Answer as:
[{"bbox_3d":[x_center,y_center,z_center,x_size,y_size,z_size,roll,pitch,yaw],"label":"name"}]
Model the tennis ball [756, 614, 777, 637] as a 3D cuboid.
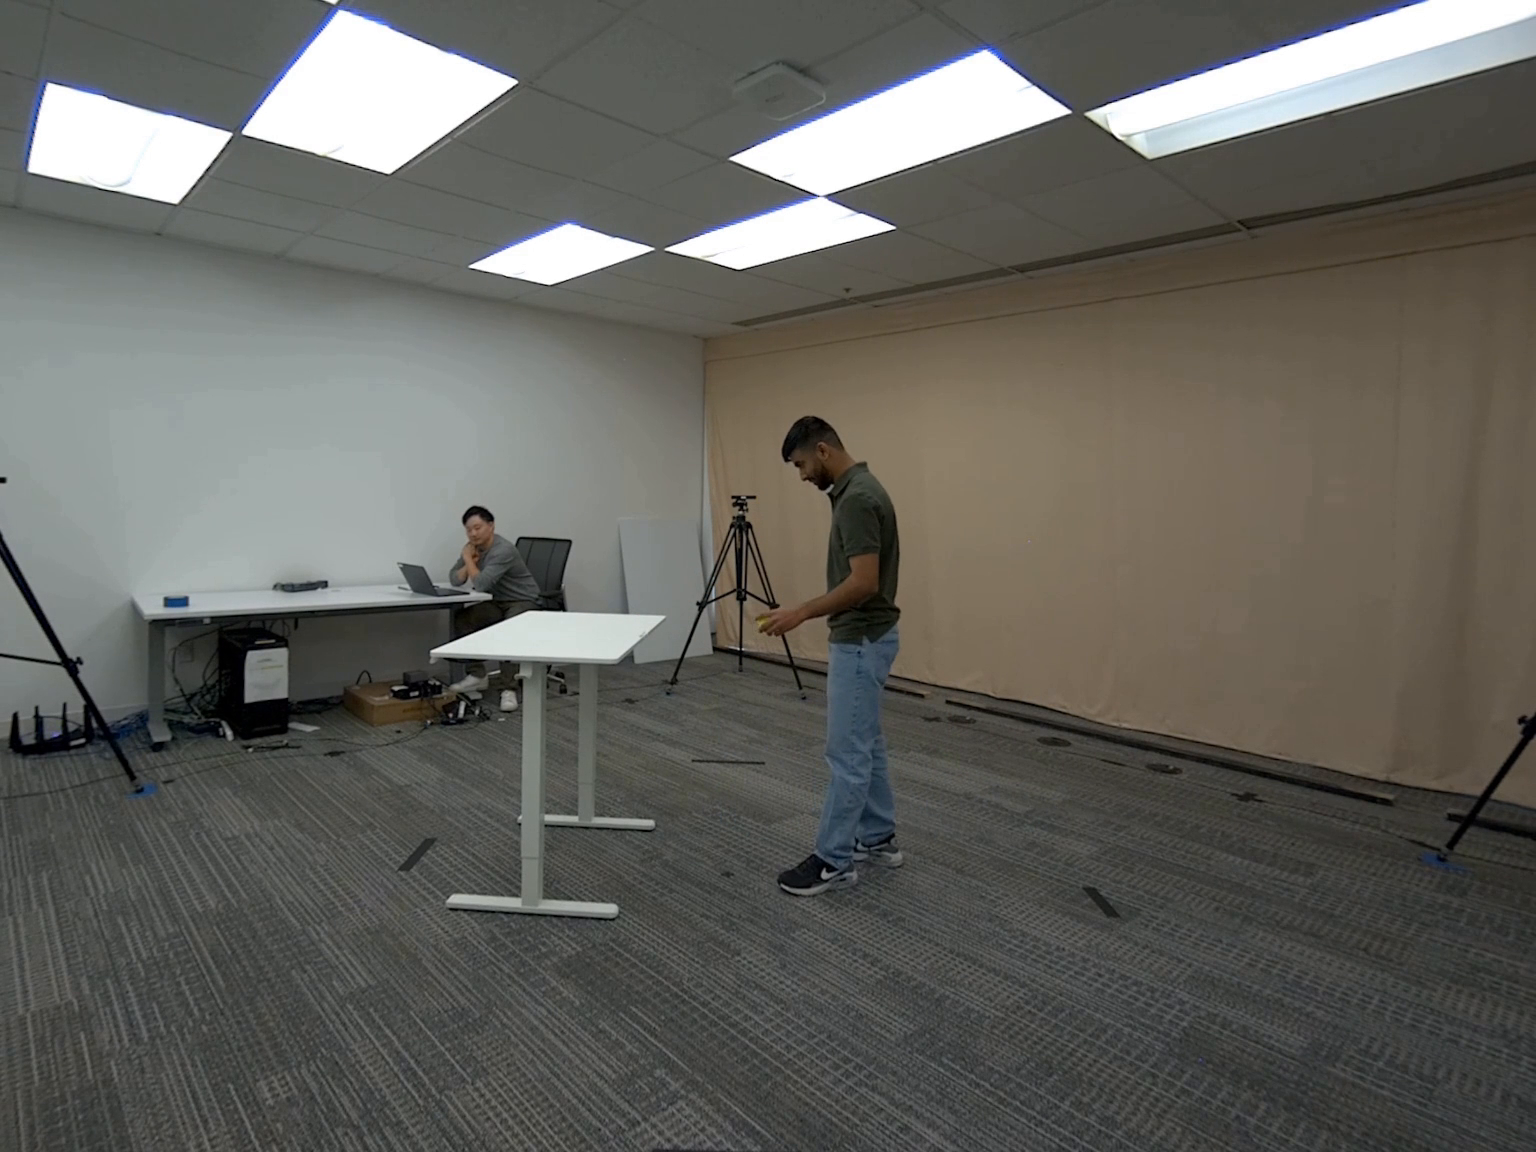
[{"bbox_3d":[-0.007,0.172,2.962,0.066,0.066,0.067,1,4,-1],"label":"tennis ball"}]
